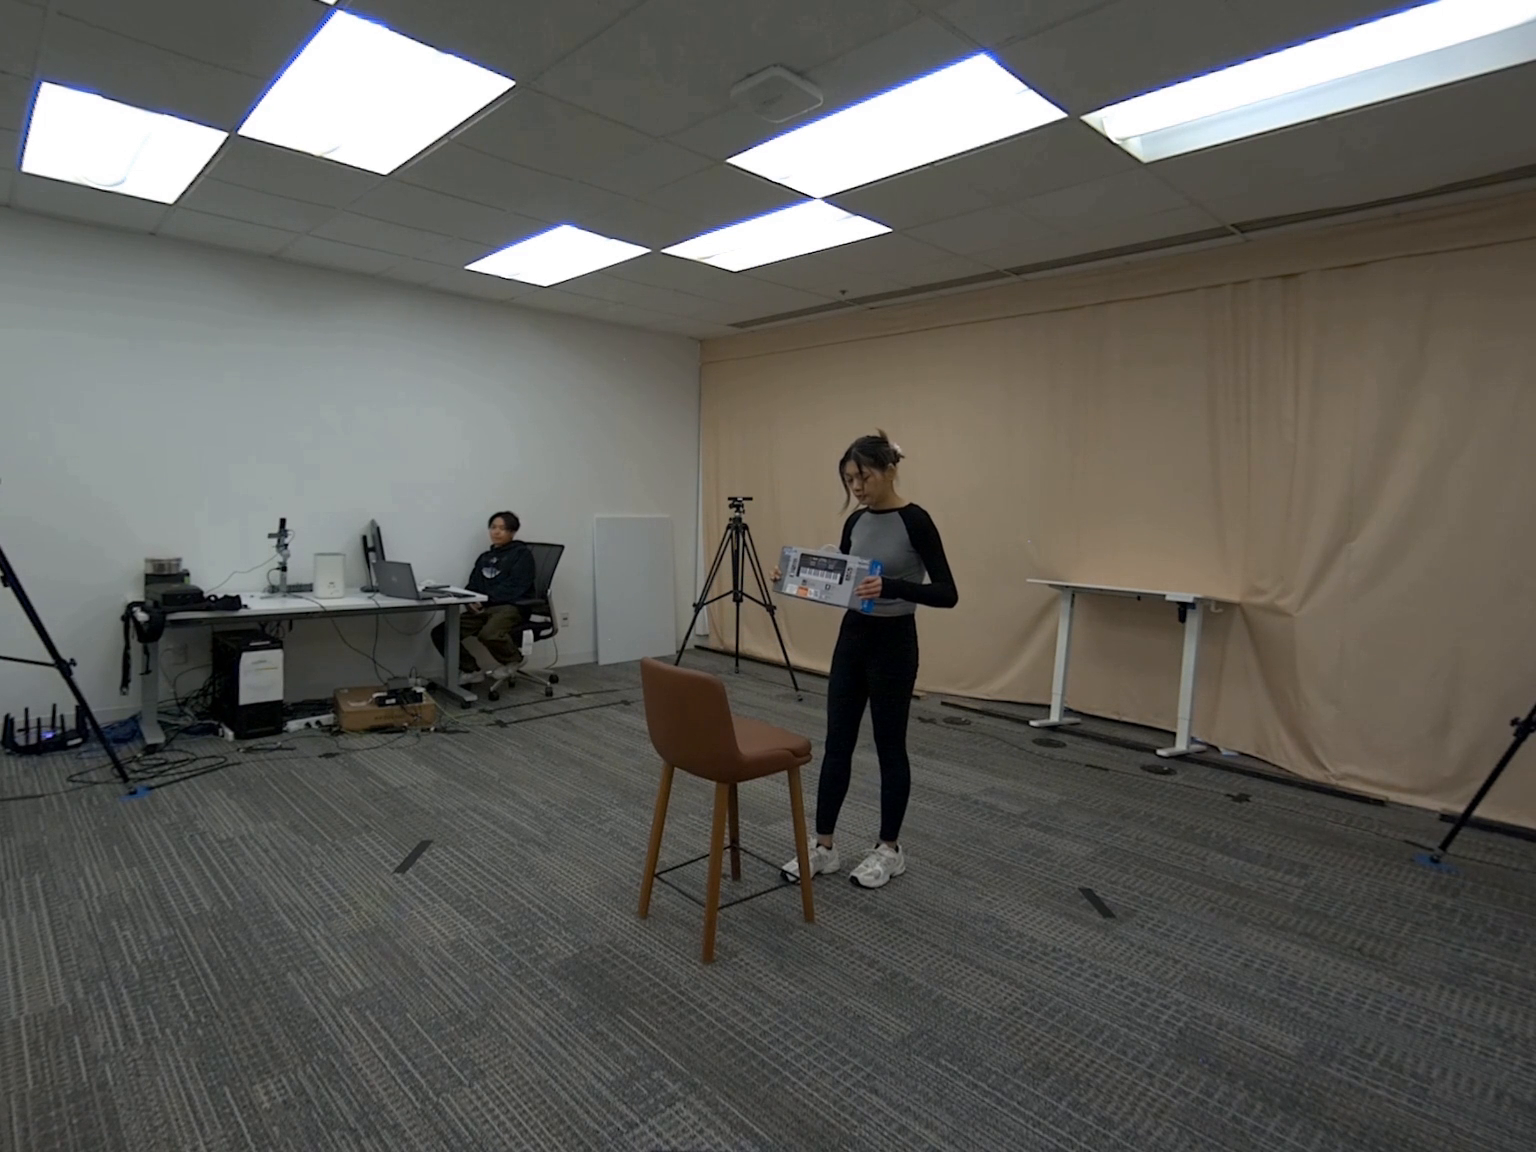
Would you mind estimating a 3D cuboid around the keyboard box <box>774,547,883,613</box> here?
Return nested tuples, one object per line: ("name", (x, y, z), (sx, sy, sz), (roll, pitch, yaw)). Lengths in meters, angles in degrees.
("keyboard box", (0.192, 0.009, 2.914), (0.057, 0.176, 0.449), (17, -4, -41))
